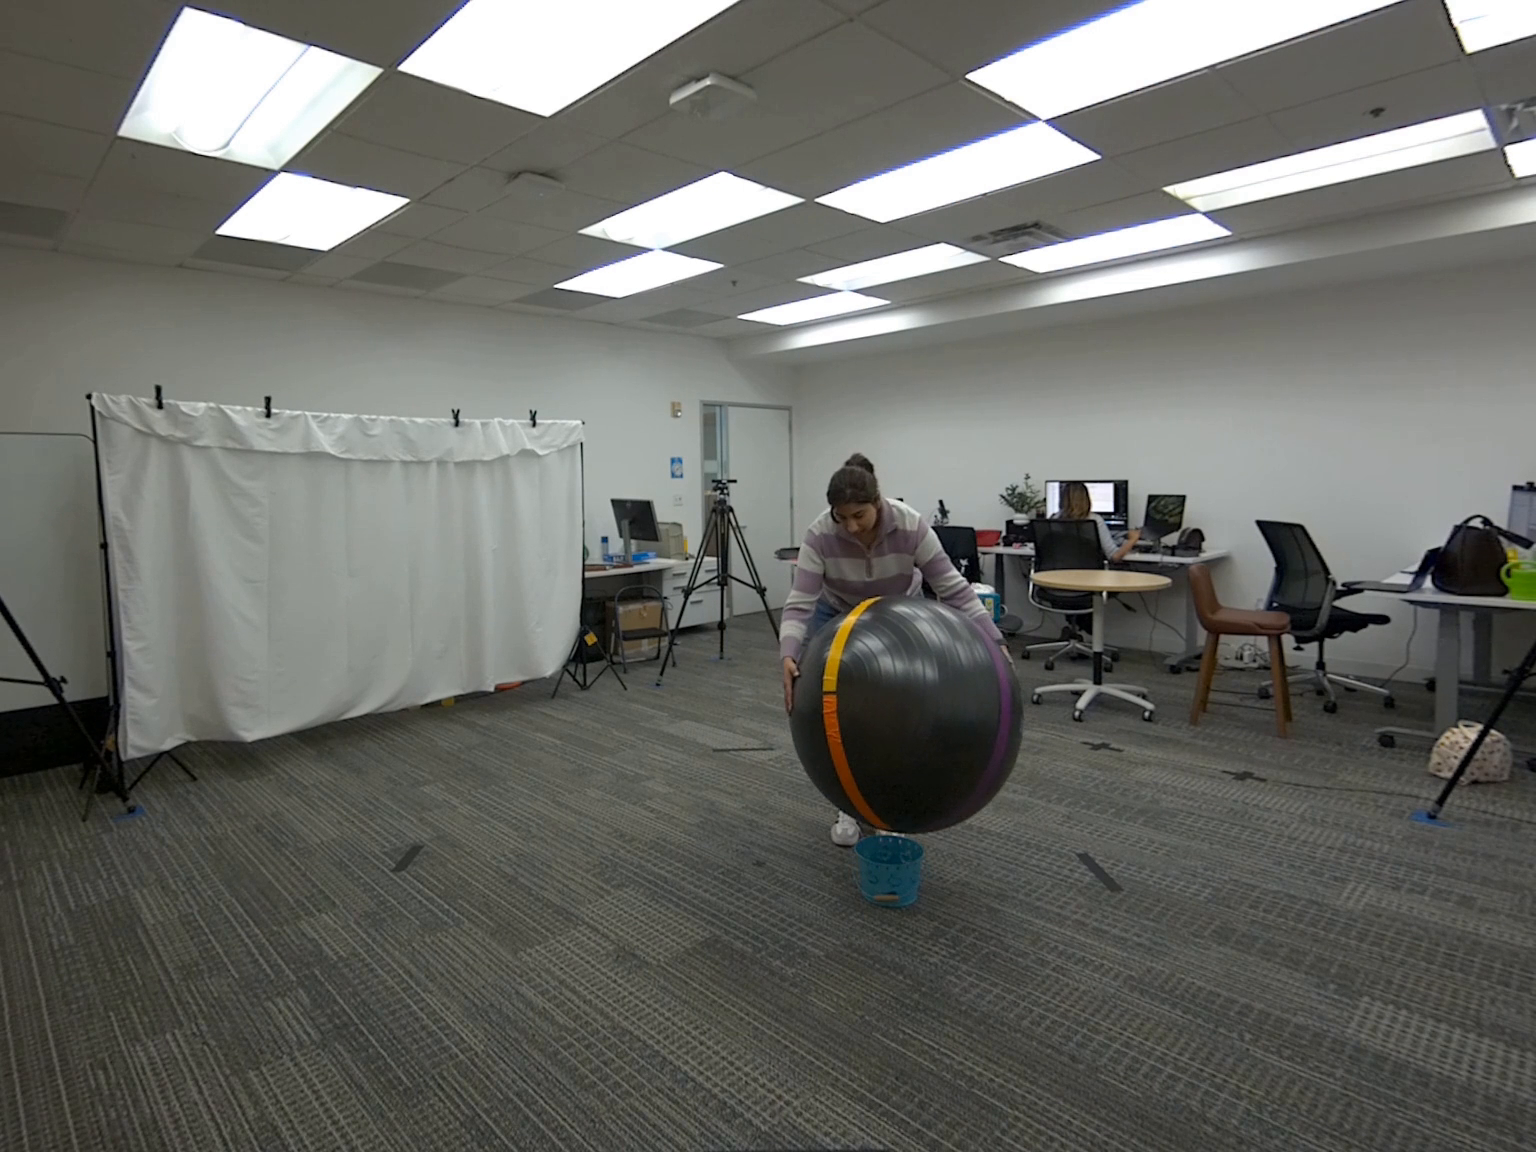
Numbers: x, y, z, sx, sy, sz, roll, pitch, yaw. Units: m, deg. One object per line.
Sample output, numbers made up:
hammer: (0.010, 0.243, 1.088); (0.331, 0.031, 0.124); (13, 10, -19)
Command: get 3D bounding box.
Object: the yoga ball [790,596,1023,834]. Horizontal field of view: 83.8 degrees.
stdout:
yoga ball: (0.454, 0.452, 2.809); (0.757, 0.755, 0.762); (-1, 5, -2)
